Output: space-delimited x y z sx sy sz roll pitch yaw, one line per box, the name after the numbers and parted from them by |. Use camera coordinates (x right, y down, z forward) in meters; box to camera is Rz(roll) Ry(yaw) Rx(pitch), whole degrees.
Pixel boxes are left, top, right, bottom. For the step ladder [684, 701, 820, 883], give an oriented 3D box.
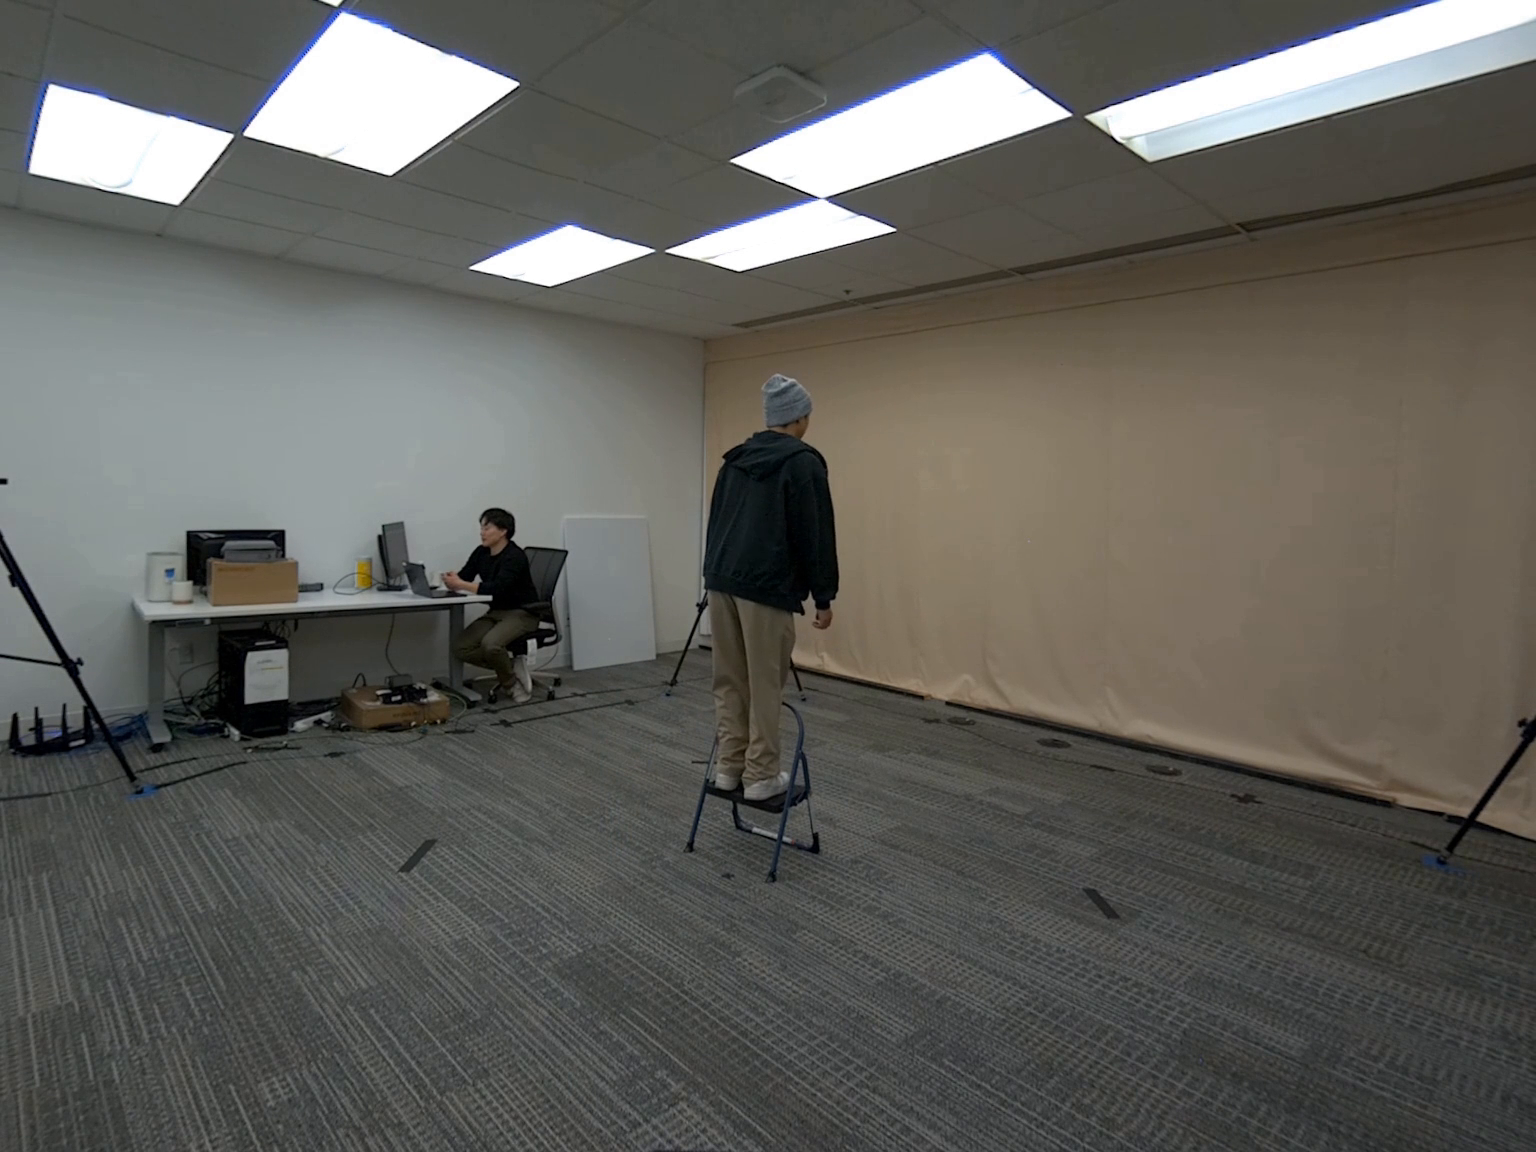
-0.053 0.789 3.307 0.441 0.605 0.341 4 4 36 | step ladder
